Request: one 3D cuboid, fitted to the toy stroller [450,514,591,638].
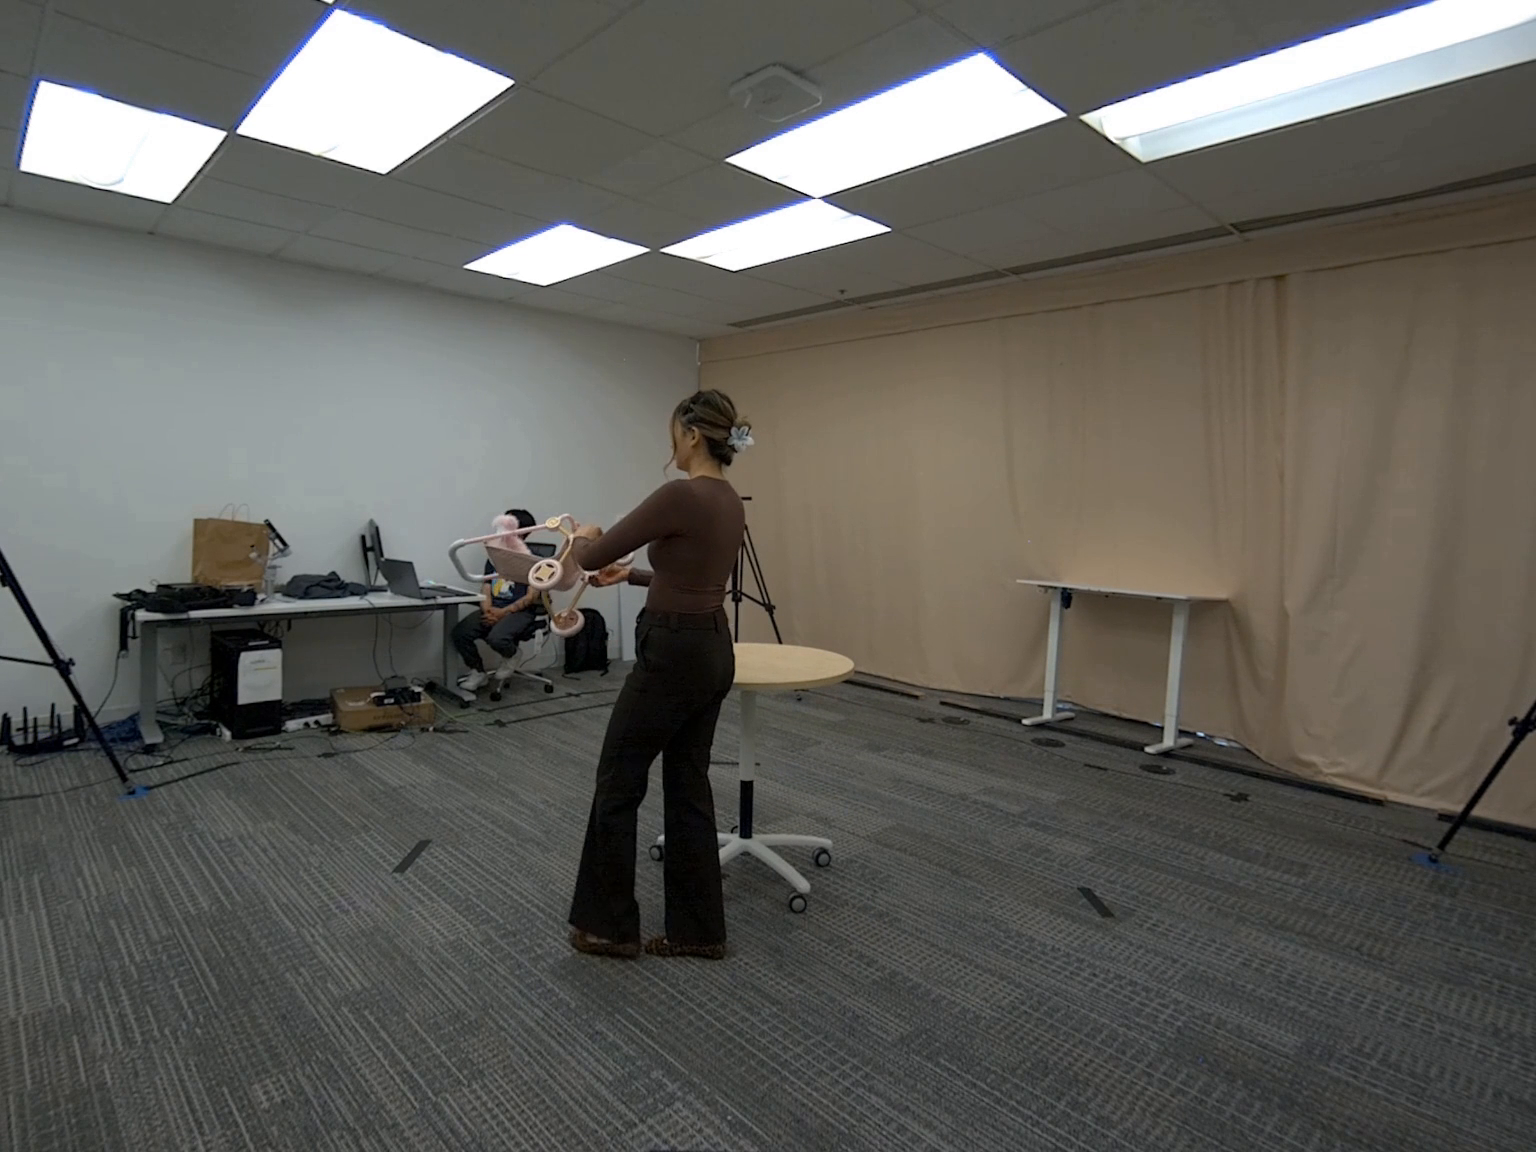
[{"bbox_3d":[-0.739,-0.057,2.762,0.548,0.342,0.274,23,-30,26],"label":"toy stroller"}]
